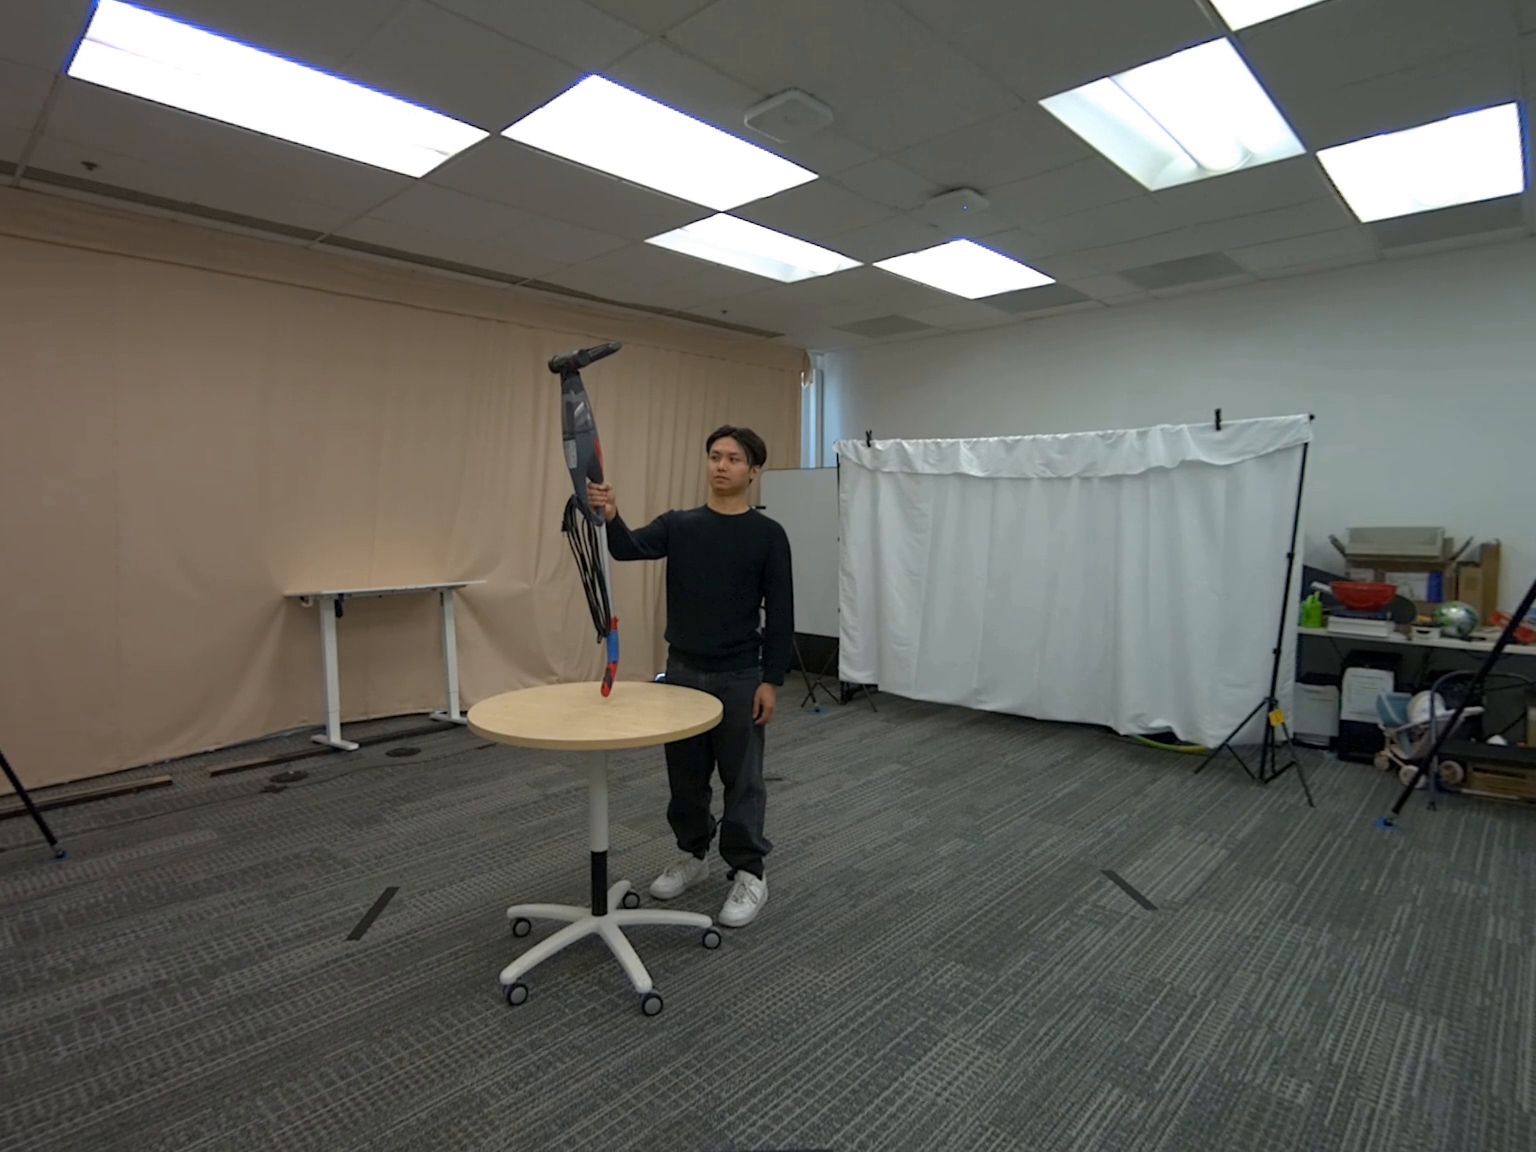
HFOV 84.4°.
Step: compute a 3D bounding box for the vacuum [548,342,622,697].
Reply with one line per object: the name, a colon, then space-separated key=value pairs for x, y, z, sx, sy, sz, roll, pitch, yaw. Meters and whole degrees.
vacuum: x=-0.544 y=-0.162 z=2.559 sx=0.260 sy=1.048 sz=0.140 roll=-3 pitch=1 yaw=39
